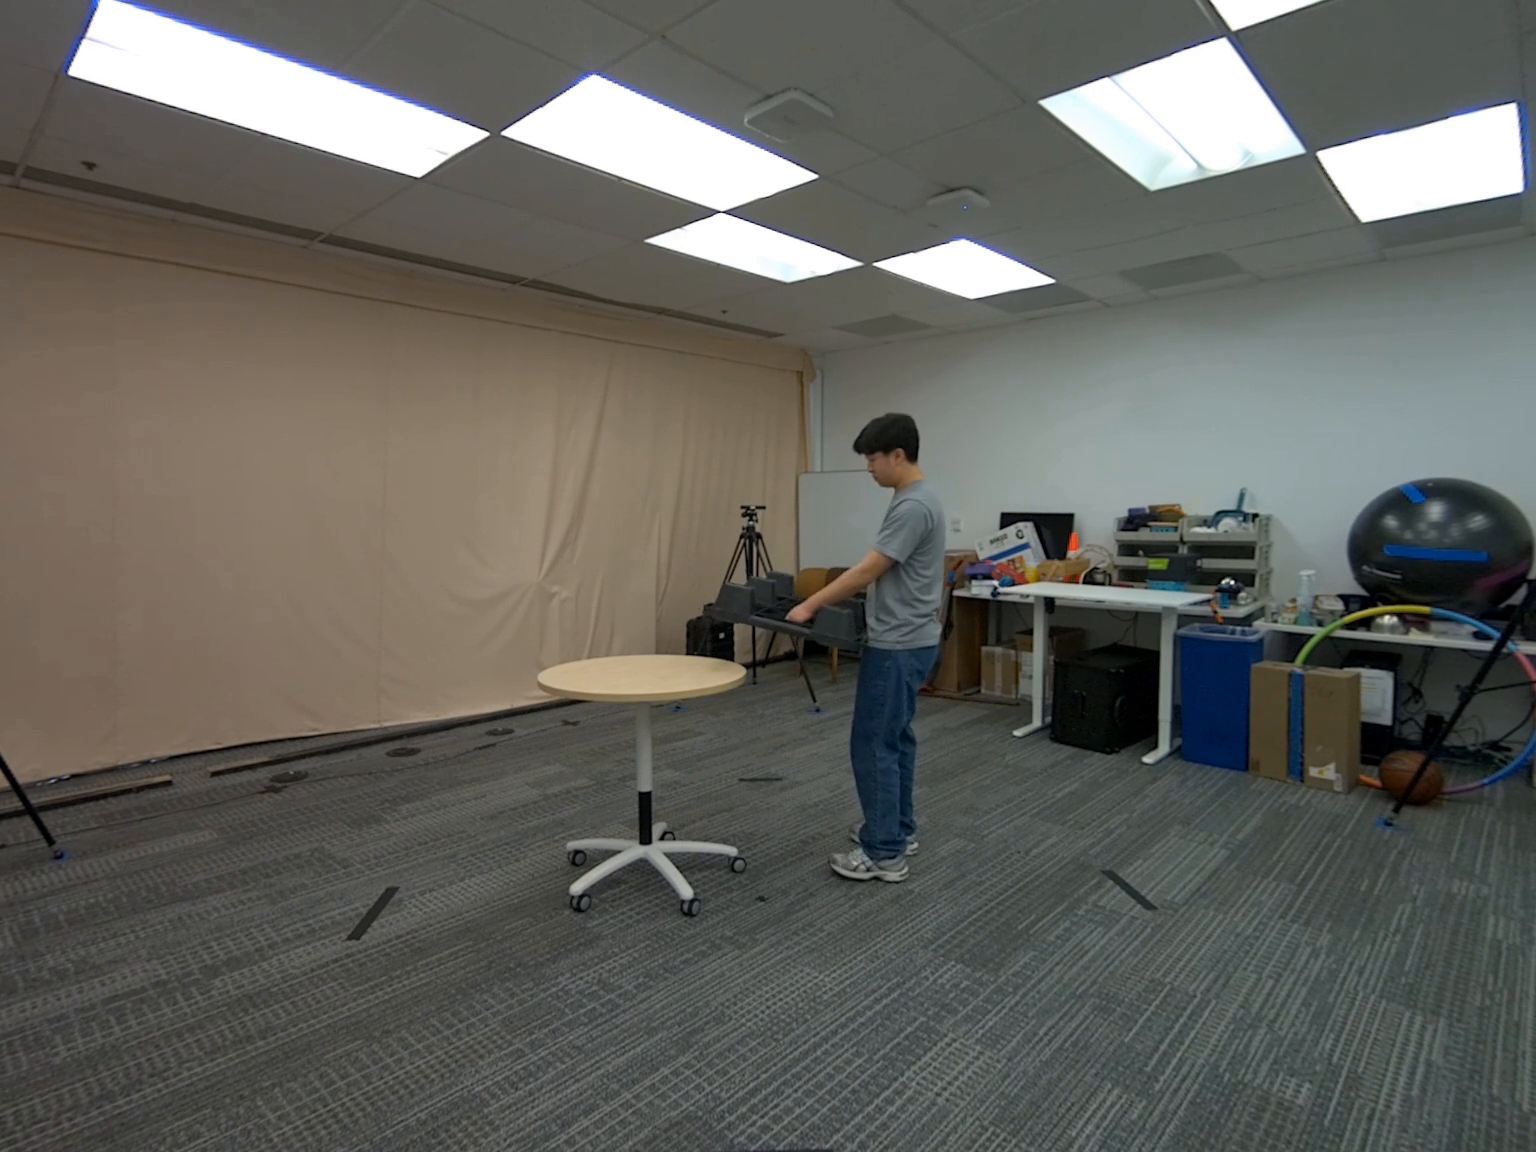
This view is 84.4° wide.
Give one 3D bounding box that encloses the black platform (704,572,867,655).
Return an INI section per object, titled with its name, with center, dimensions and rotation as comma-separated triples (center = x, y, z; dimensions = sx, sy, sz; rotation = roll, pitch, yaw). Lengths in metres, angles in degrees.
[black platform]
center = 0.157, 0.121, 3.399
dimensions = 0.616, 0.143, 0.793
rotation = 11, 7, 15
